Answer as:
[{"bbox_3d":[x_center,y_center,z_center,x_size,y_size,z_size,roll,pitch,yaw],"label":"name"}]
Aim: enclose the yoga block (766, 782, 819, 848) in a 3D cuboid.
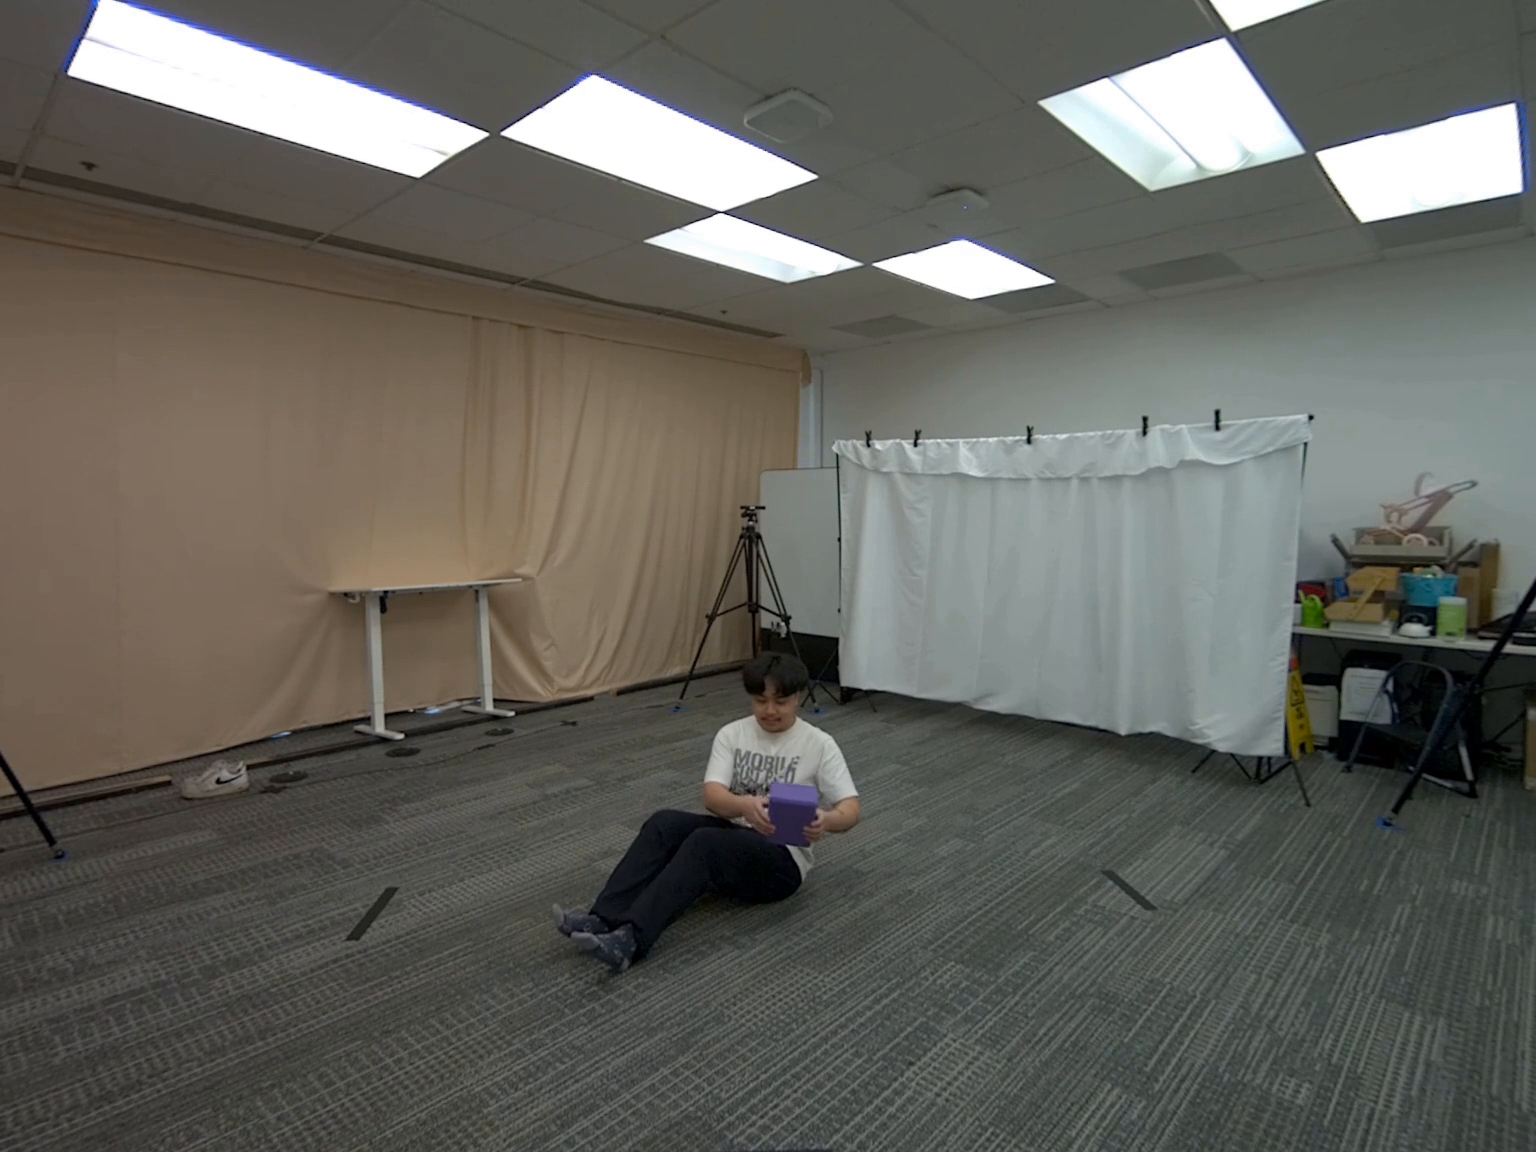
[{"bbox_3d":[0.063,0.753,2.663,0.150,0.226,0.077,6,35,3],"label":"yoga block"}]
